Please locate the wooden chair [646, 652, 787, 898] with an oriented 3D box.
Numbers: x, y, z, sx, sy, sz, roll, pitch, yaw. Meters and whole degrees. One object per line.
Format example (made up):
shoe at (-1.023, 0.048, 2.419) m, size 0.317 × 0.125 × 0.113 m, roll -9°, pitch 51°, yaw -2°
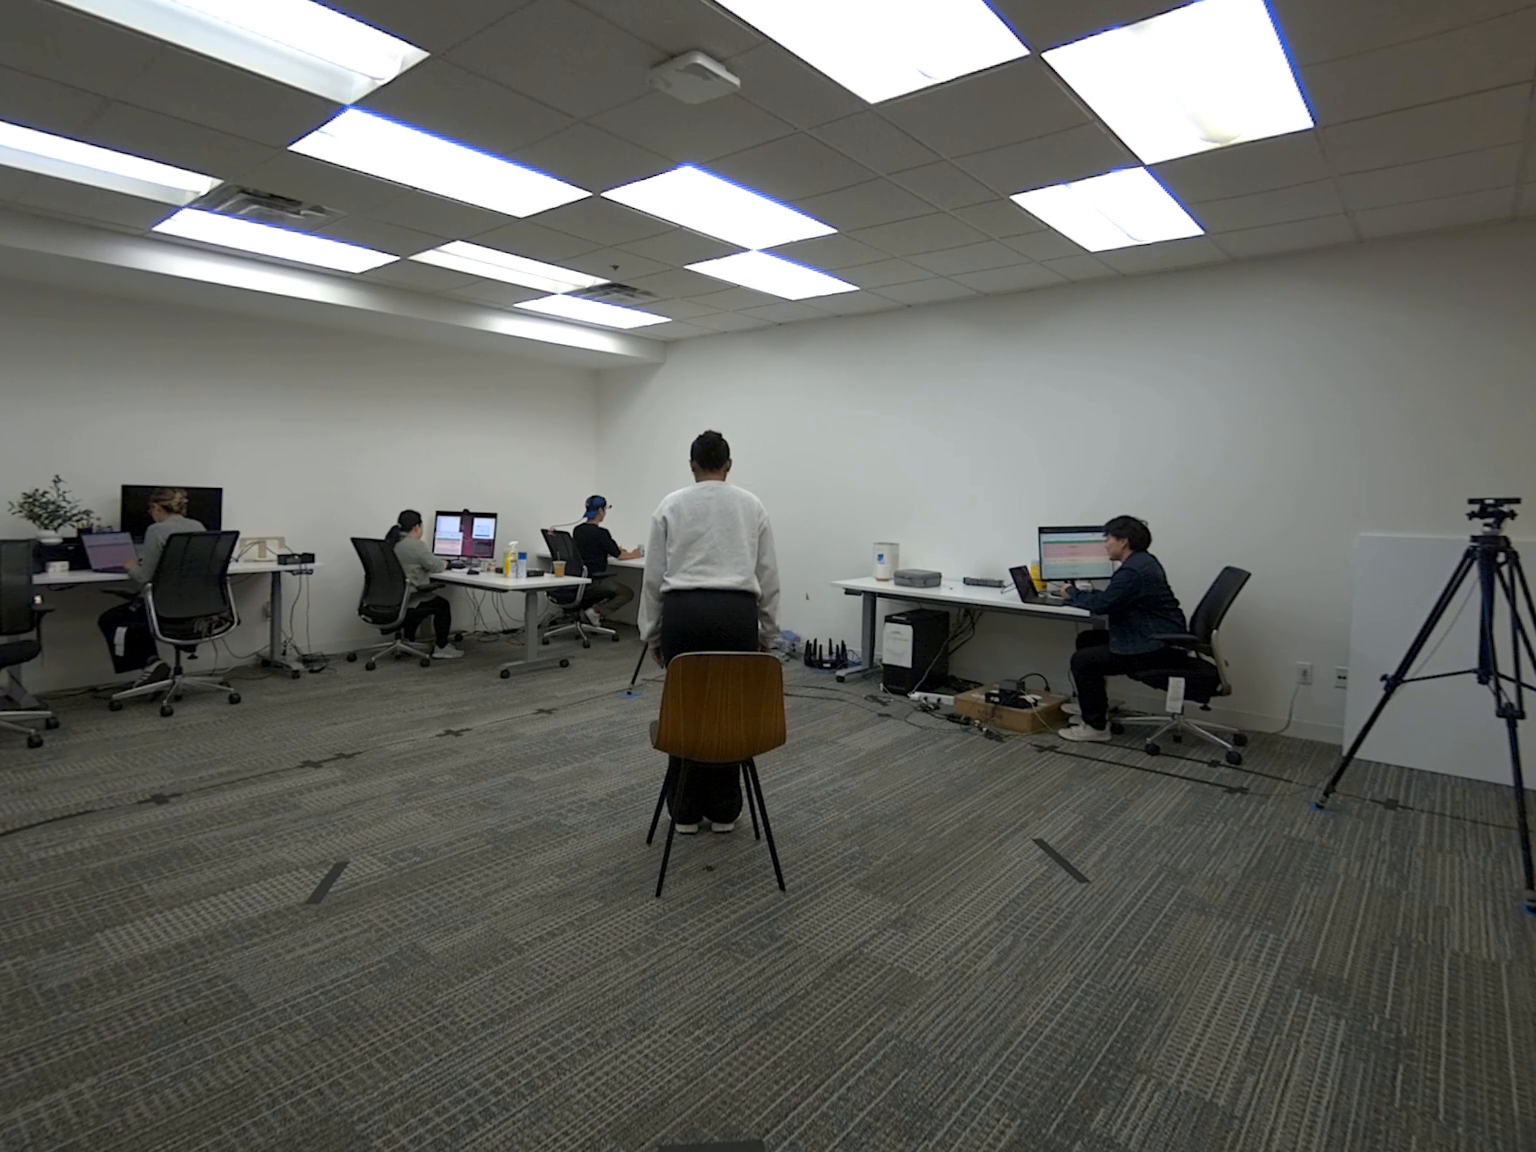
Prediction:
wooden chair at (-0.209, 0.634, 3.108) m, size 0.473 × 0.872 × 0.533 m, roll 0°, pitch 7°, yaw -11°
